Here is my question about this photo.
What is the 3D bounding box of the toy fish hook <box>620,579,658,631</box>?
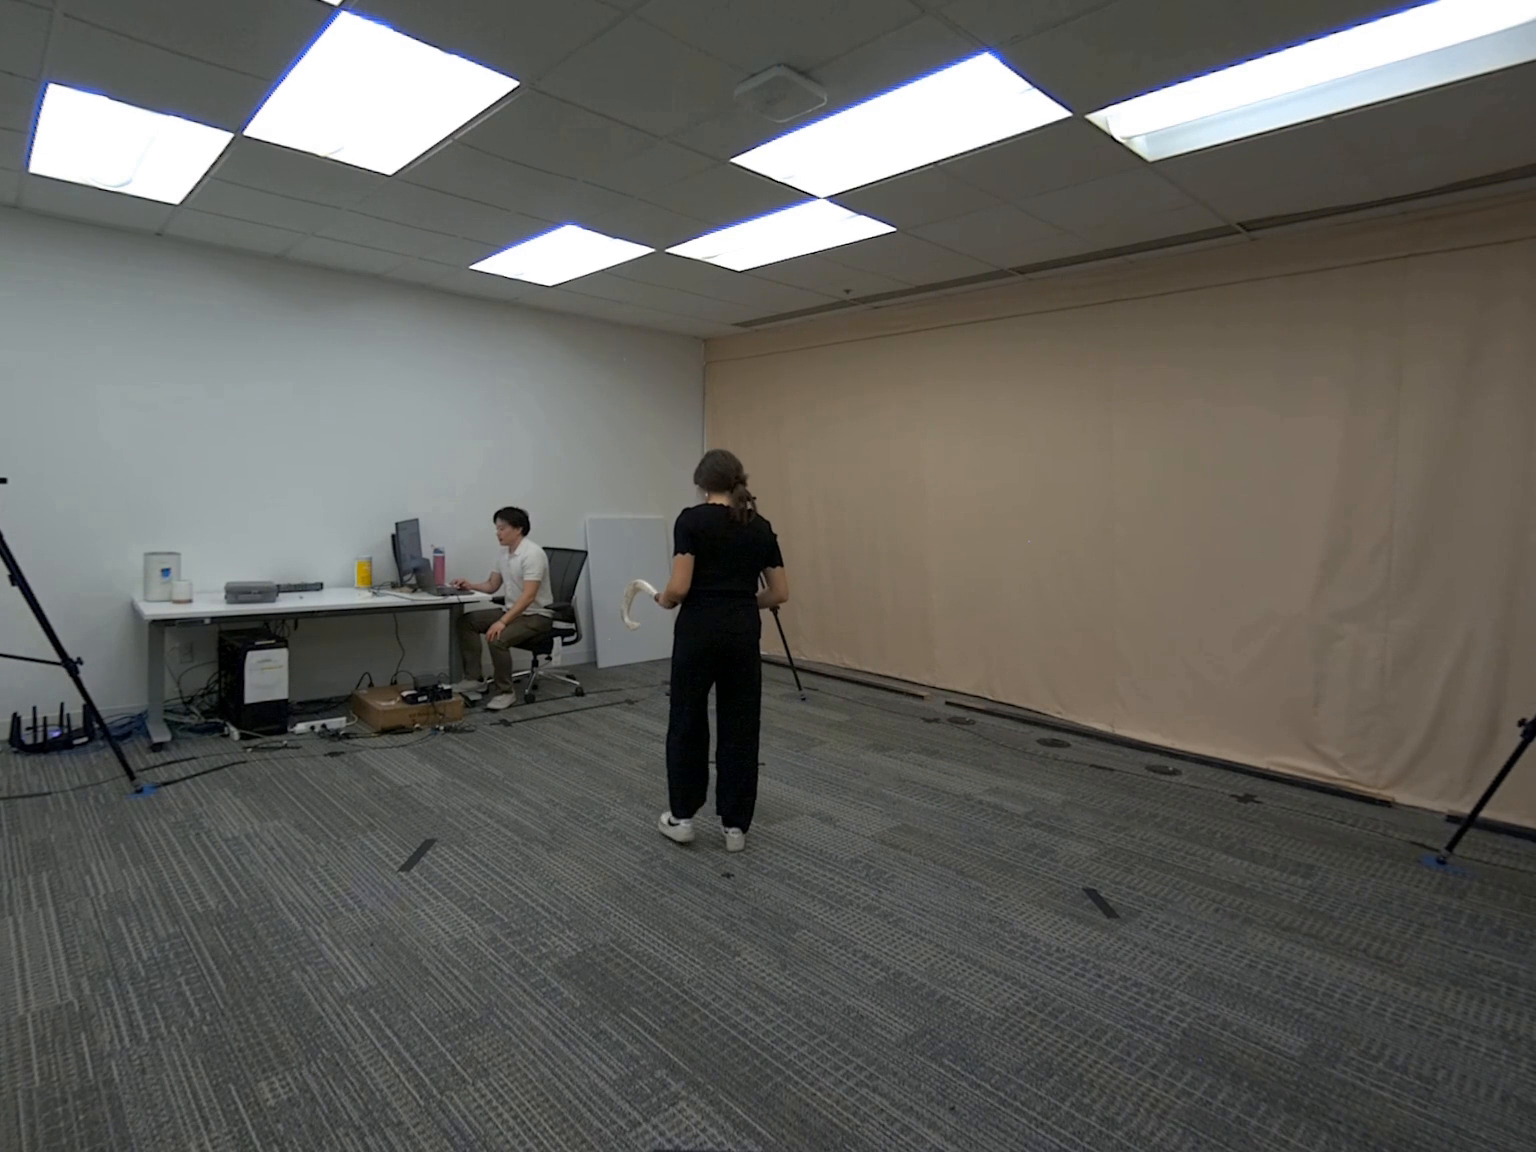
[{"bbox_3d":[-0.519,0.141,3.600,0.047,0.225,0.518,9,-2,-35],"label":"toy fish hook"}]
